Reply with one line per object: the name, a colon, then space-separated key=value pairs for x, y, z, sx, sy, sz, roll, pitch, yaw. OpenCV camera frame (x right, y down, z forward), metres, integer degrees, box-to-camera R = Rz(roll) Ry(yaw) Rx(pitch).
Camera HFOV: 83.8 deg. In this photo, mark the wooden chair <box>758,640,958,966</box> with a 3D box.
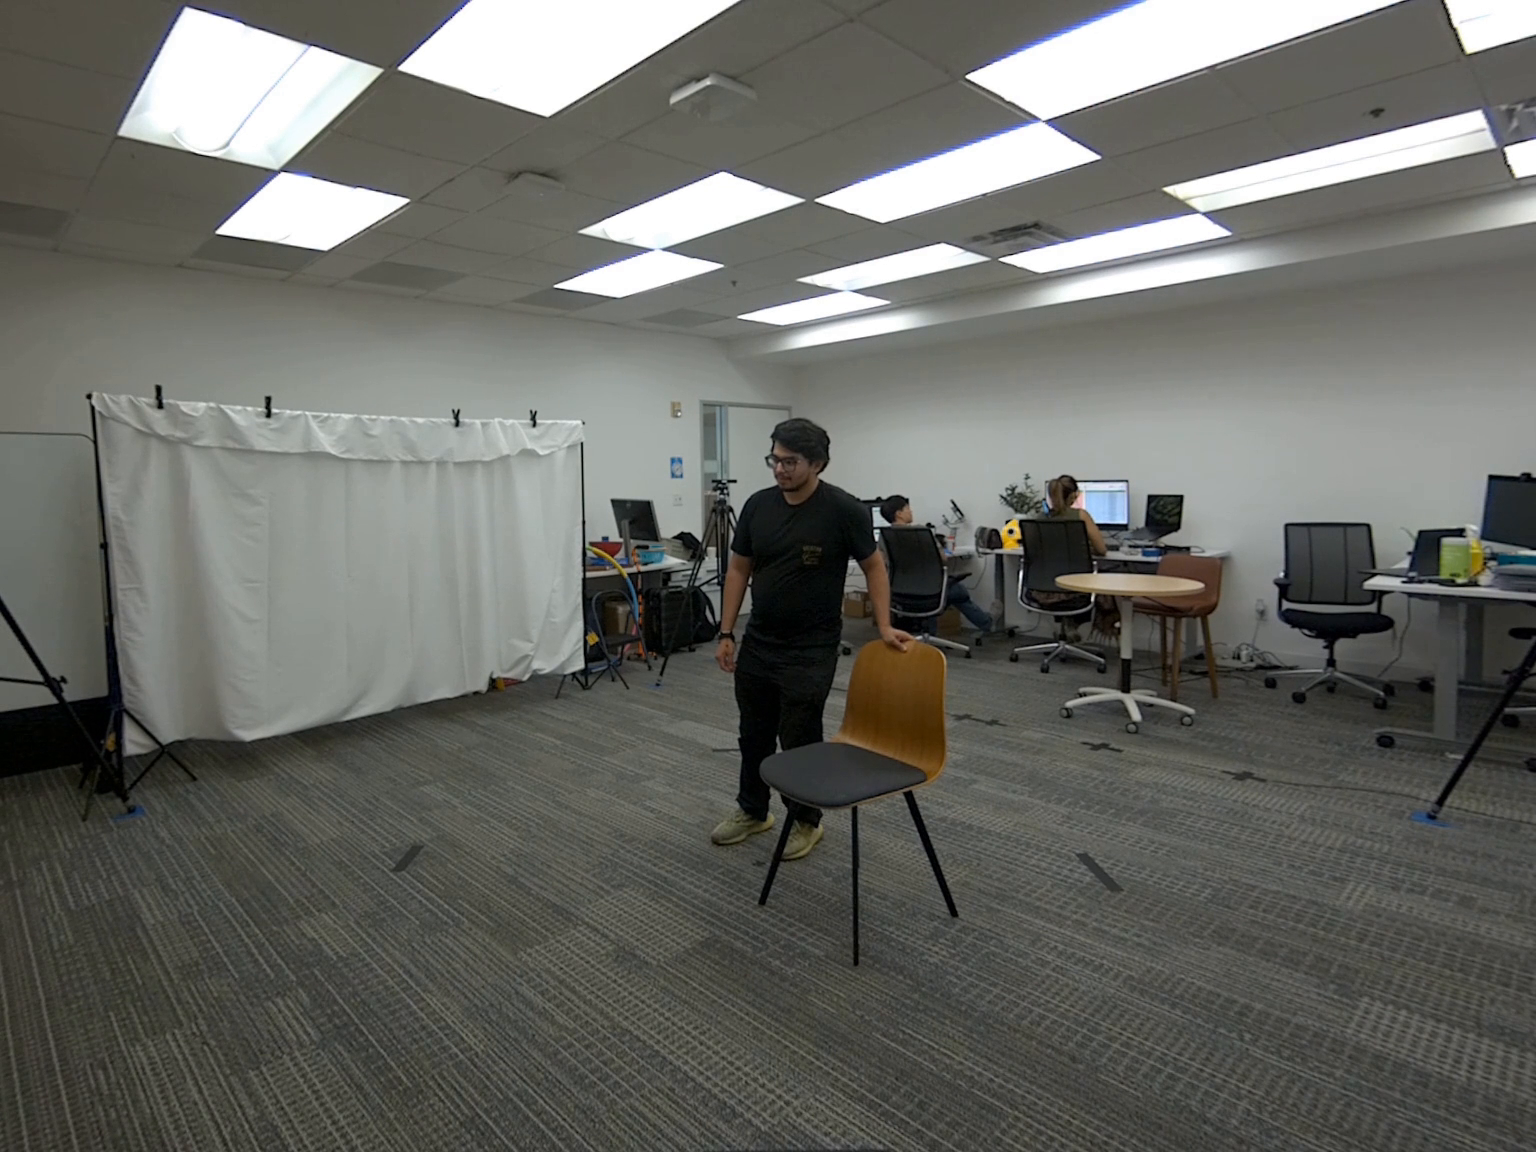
wooden chair: x=0.279 y=0.660 z=2.716 sx=0.508 sy=0.877 sz=0.492 roll=1 pitch=1 yaw=-38
